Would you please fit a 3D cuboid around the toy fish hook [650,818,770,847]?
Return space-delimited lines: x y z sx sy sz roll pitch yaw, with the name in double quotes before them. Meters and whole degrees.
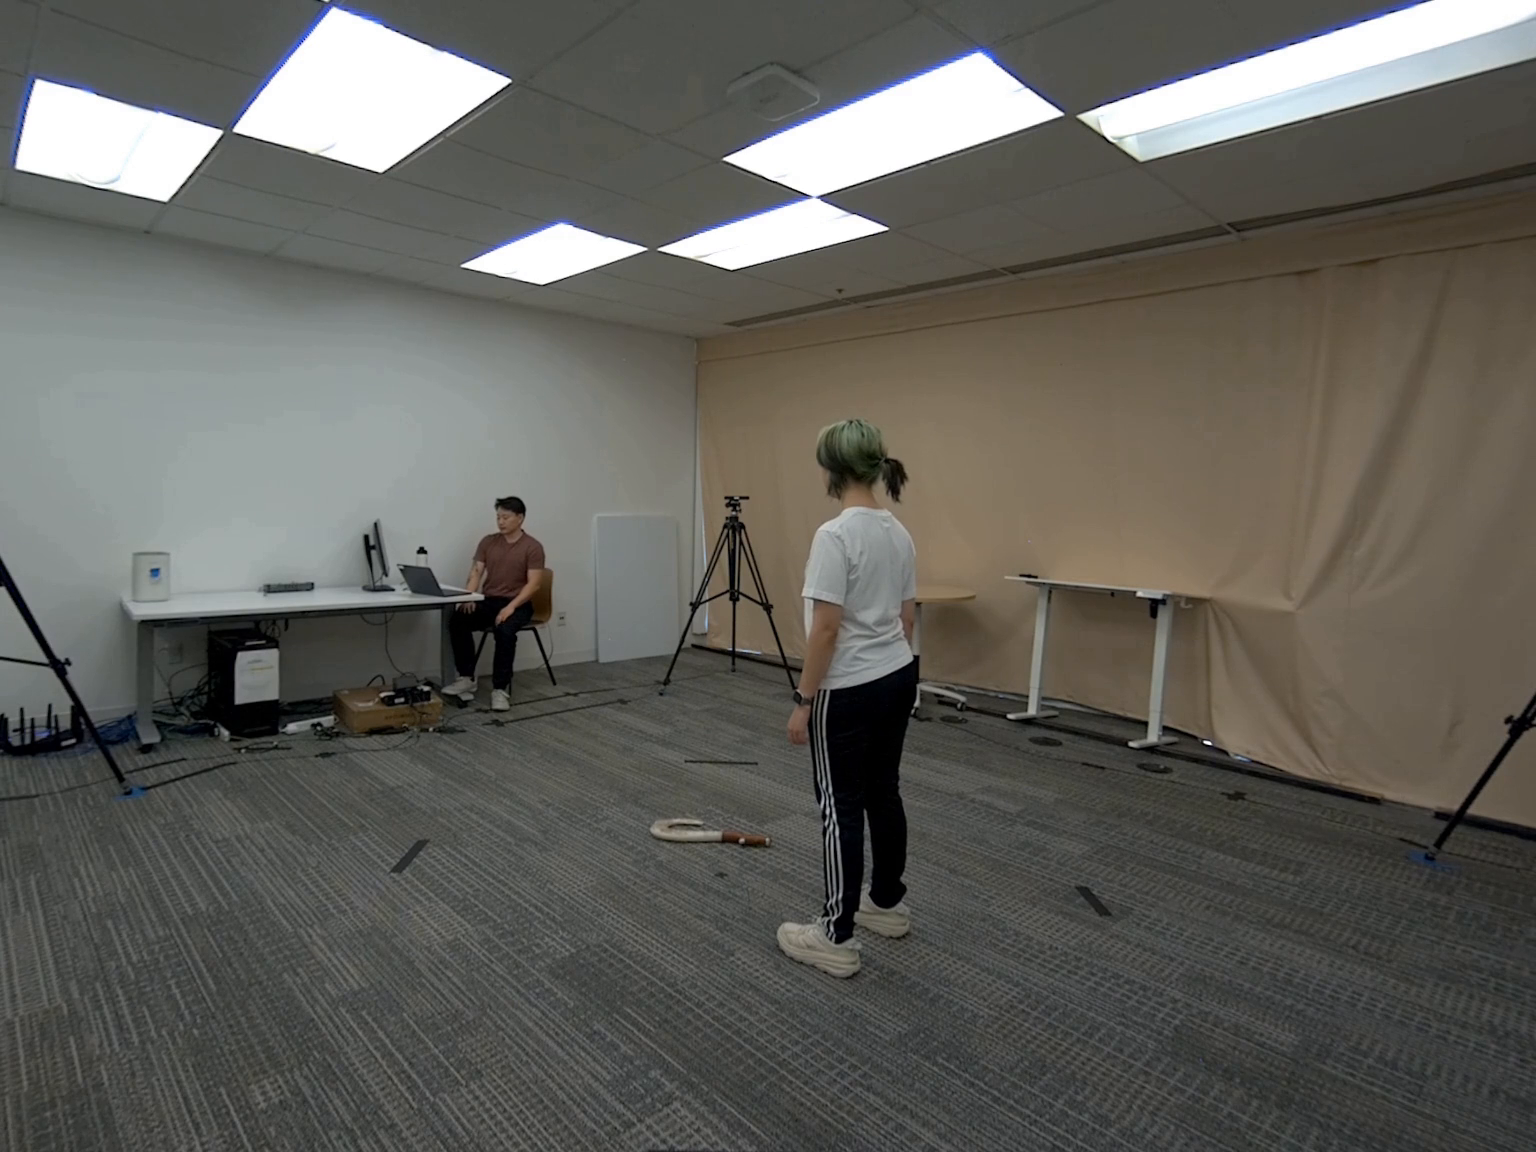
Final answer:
"toy fish hook" -0.238 1.048 3.463 0.511 0.048 0.223 2 7 10
